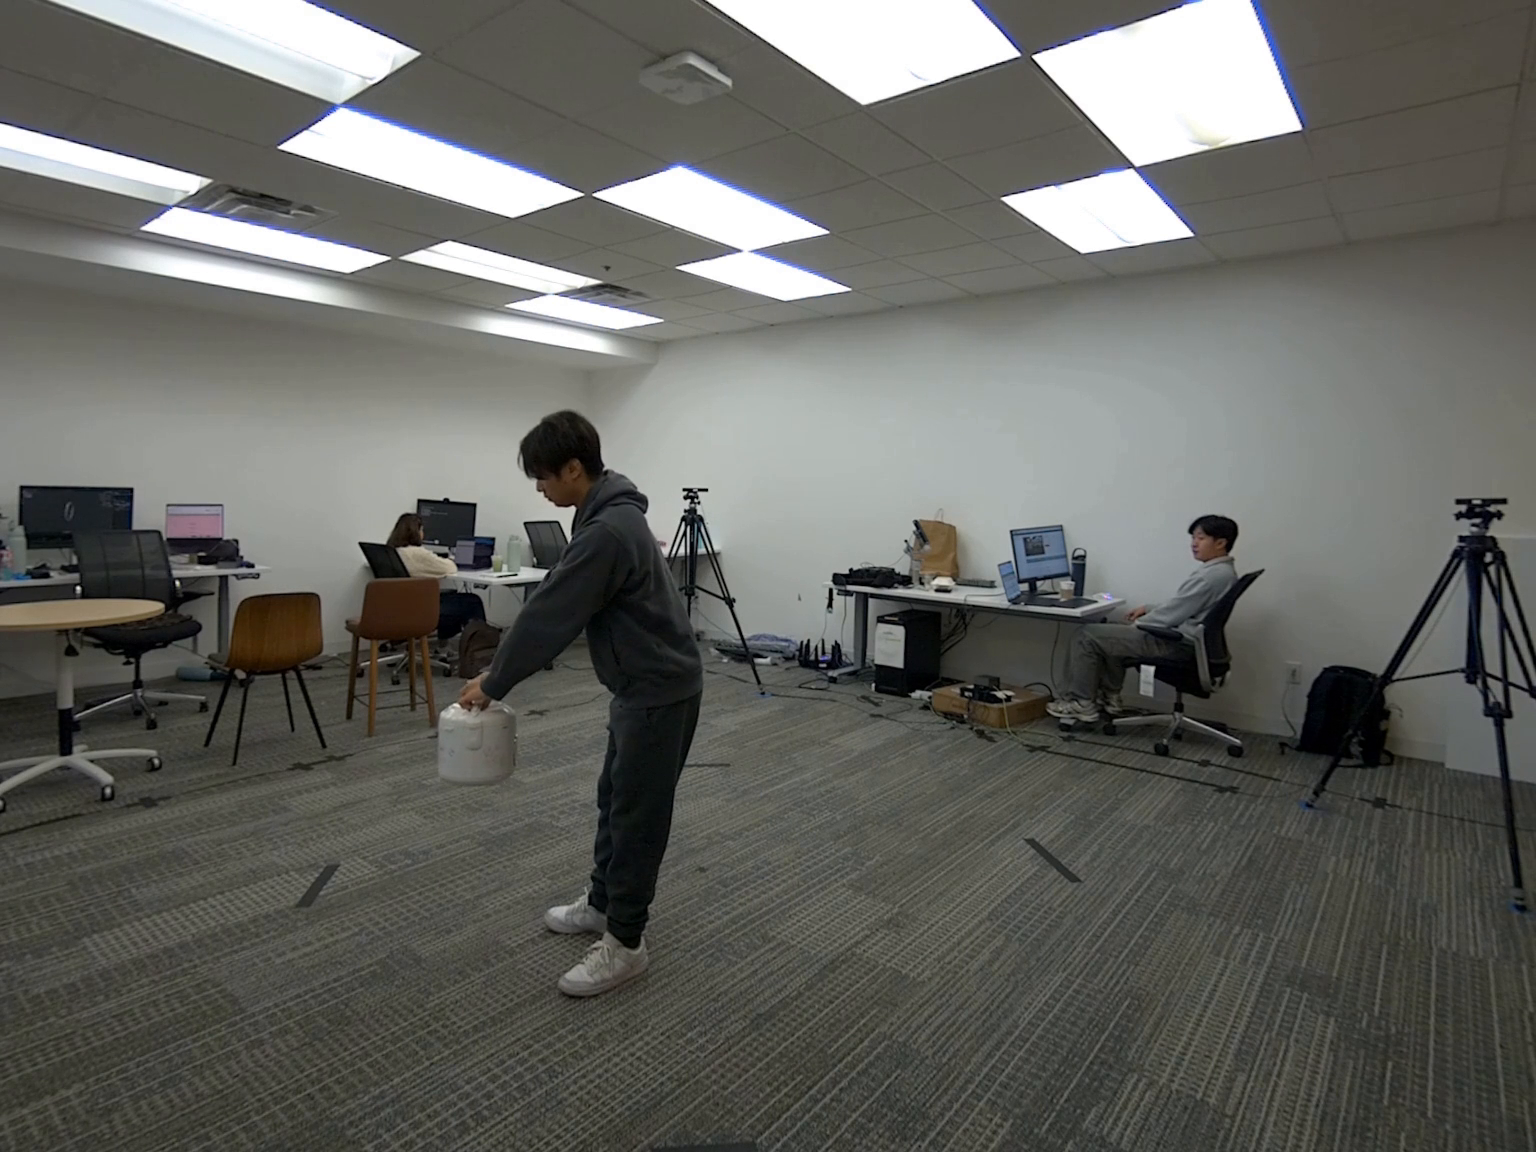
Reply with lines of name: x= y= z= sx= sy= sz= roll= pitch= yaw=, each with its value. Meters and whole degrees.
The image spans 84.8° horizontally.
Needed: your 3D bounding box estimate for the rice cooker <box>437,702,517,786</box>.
rice cooker: x=-0.829 y=0.458 z=2.405 sx=0.215 sy=0.233 sz=0.223 roll=1 pitch=1 yaw=-10
